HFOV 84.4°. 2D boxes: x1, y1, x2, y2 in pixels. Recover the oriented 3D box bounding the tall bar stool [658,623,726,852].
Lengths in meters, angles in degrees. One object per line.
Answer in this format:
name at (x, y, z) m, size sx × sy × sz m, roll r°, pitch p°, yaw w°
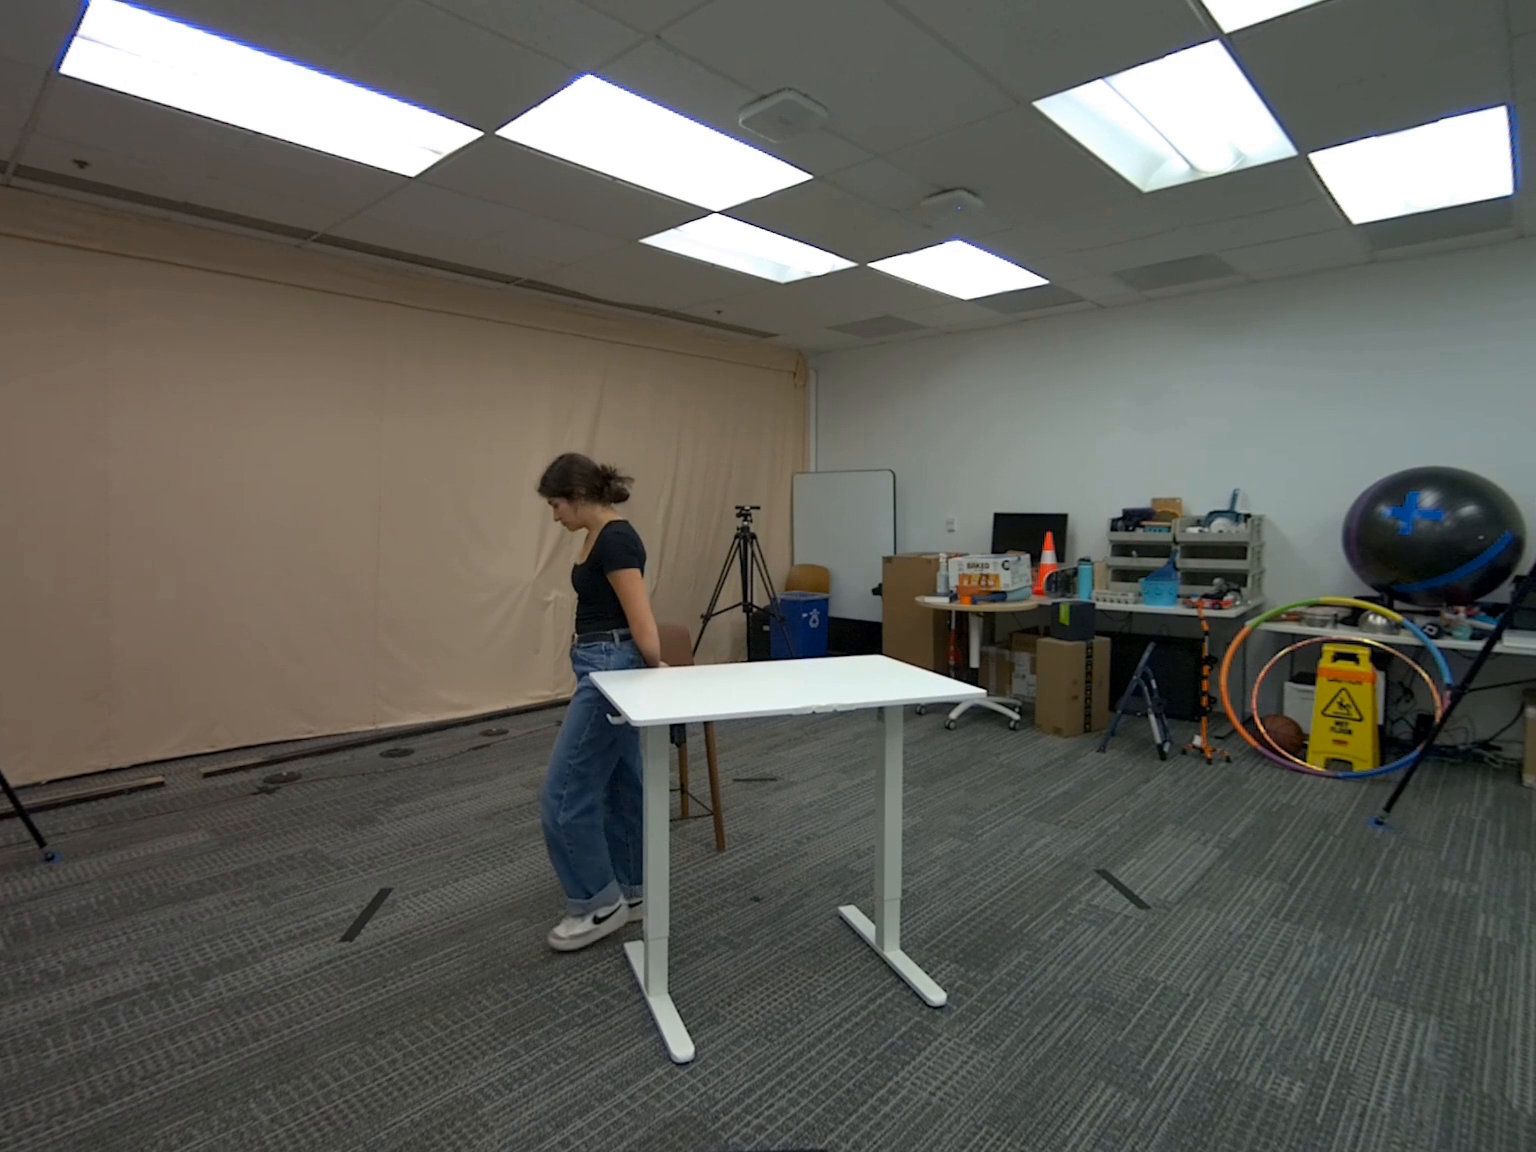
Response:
tall bar stool at (-0.455, 0.667, 3.515) m, size 0.447 × 0.889 × 0.478 m, roll -2°, pitch 2°, yaw -23°
